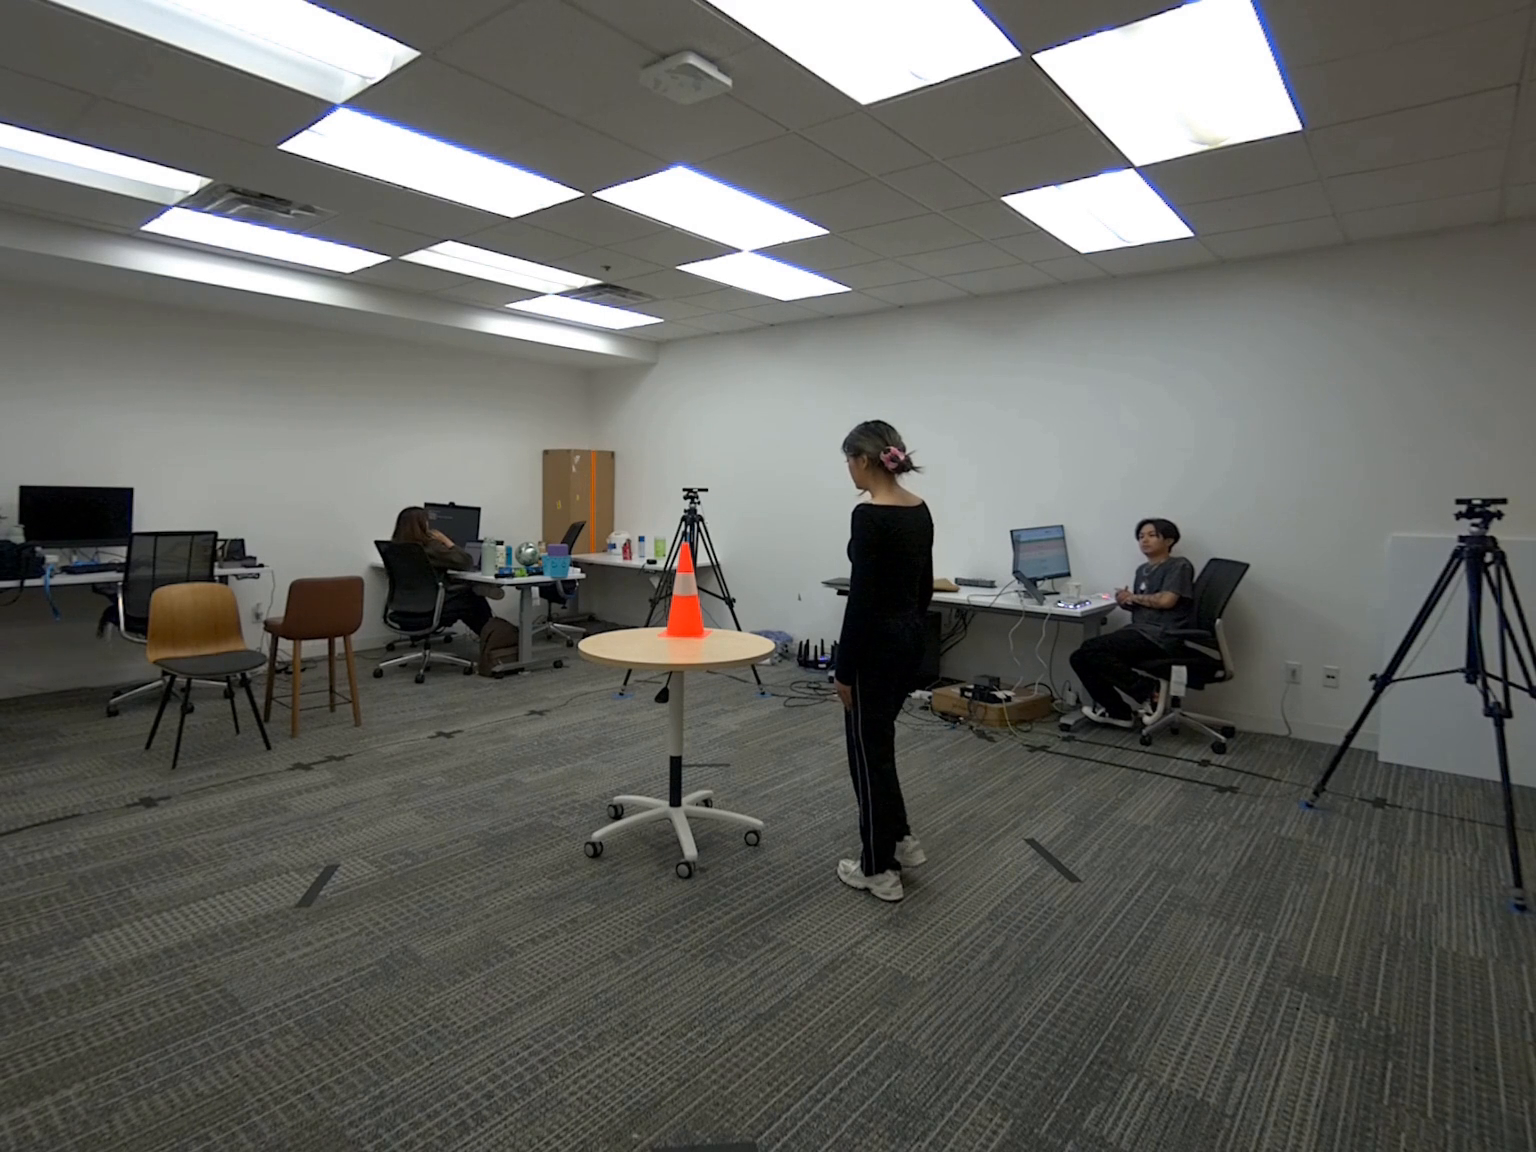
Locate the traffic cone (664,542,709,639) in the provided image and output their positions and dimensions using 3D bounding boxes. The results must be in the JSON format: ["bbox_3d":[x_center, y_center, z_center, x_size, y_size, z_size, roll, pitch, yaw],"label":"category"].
[{"bbox_3d":[-0.359,0.050,3.550,0.204,0.383,0.205,3,2,2],"label":"traffic cone"}]
